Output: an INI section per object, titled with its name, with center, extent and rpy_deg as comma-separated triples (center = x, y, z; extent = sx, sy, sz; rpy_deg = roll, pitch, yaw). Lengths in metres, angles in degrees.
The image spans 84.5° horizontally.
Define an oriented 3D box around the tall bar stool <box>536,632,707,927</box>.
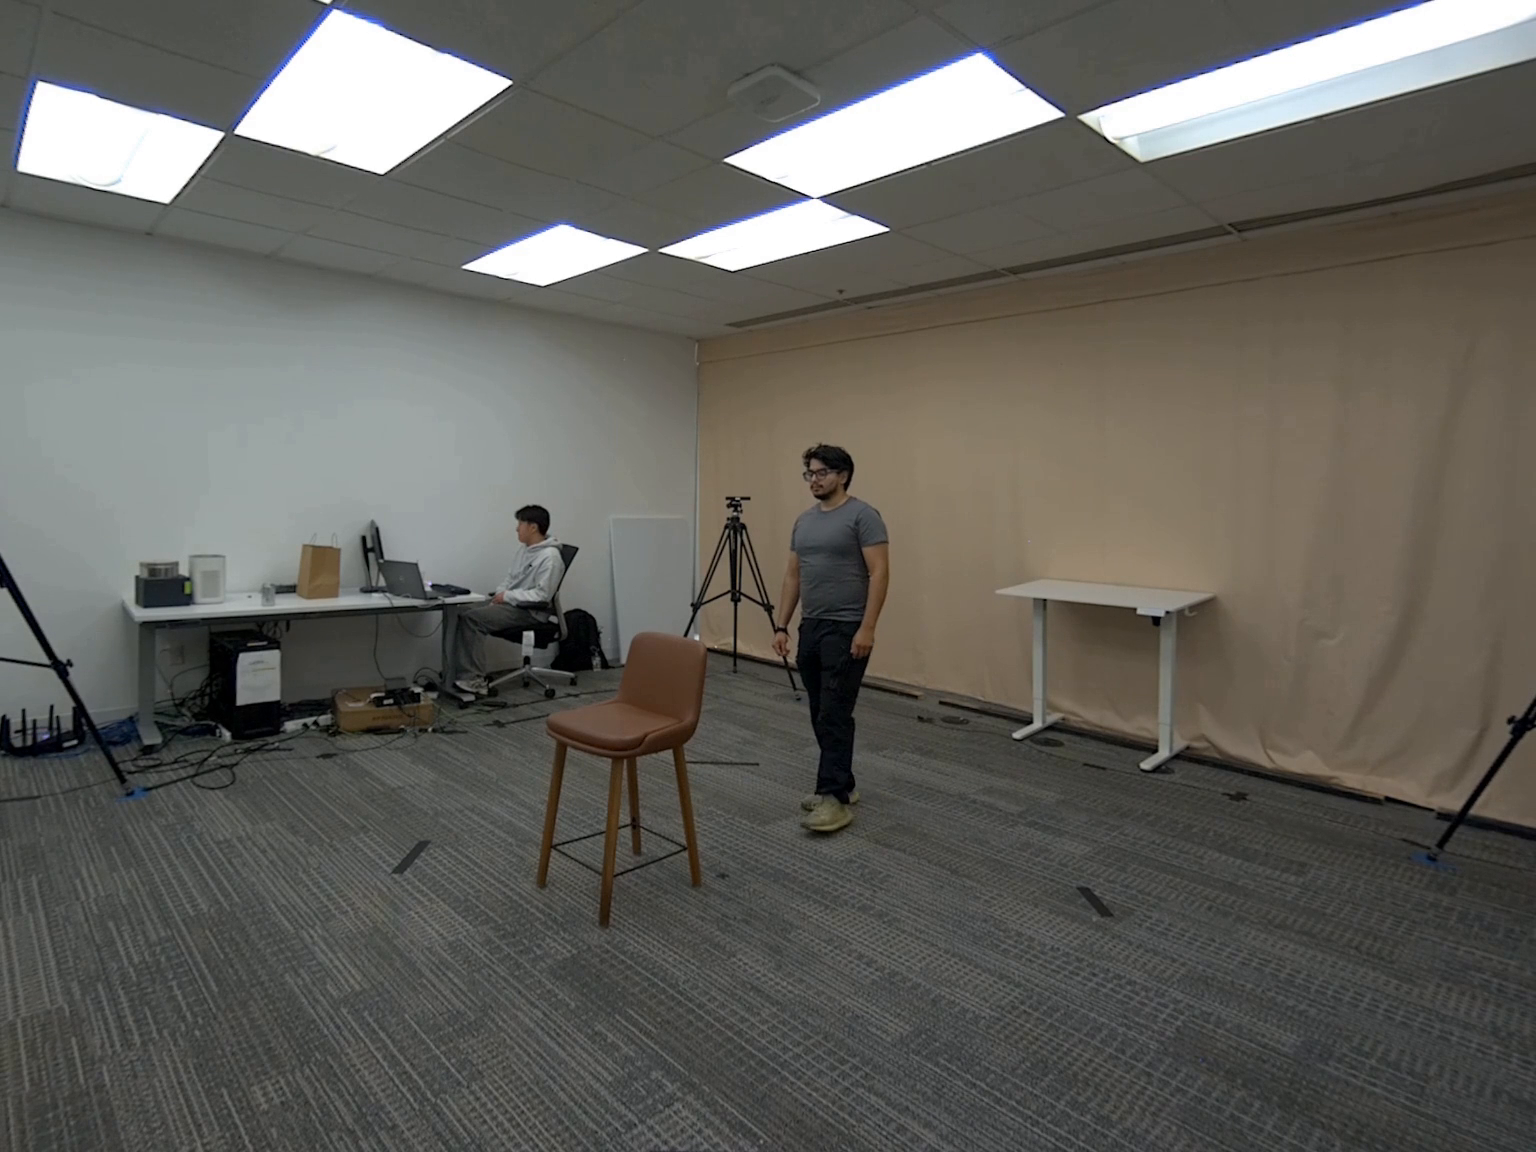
[tall bar stool]
center = -0.516, 0.675, 2.982
extent = 0.468, 0.889, 0.456
rpy_deg = 4, 3, 45
